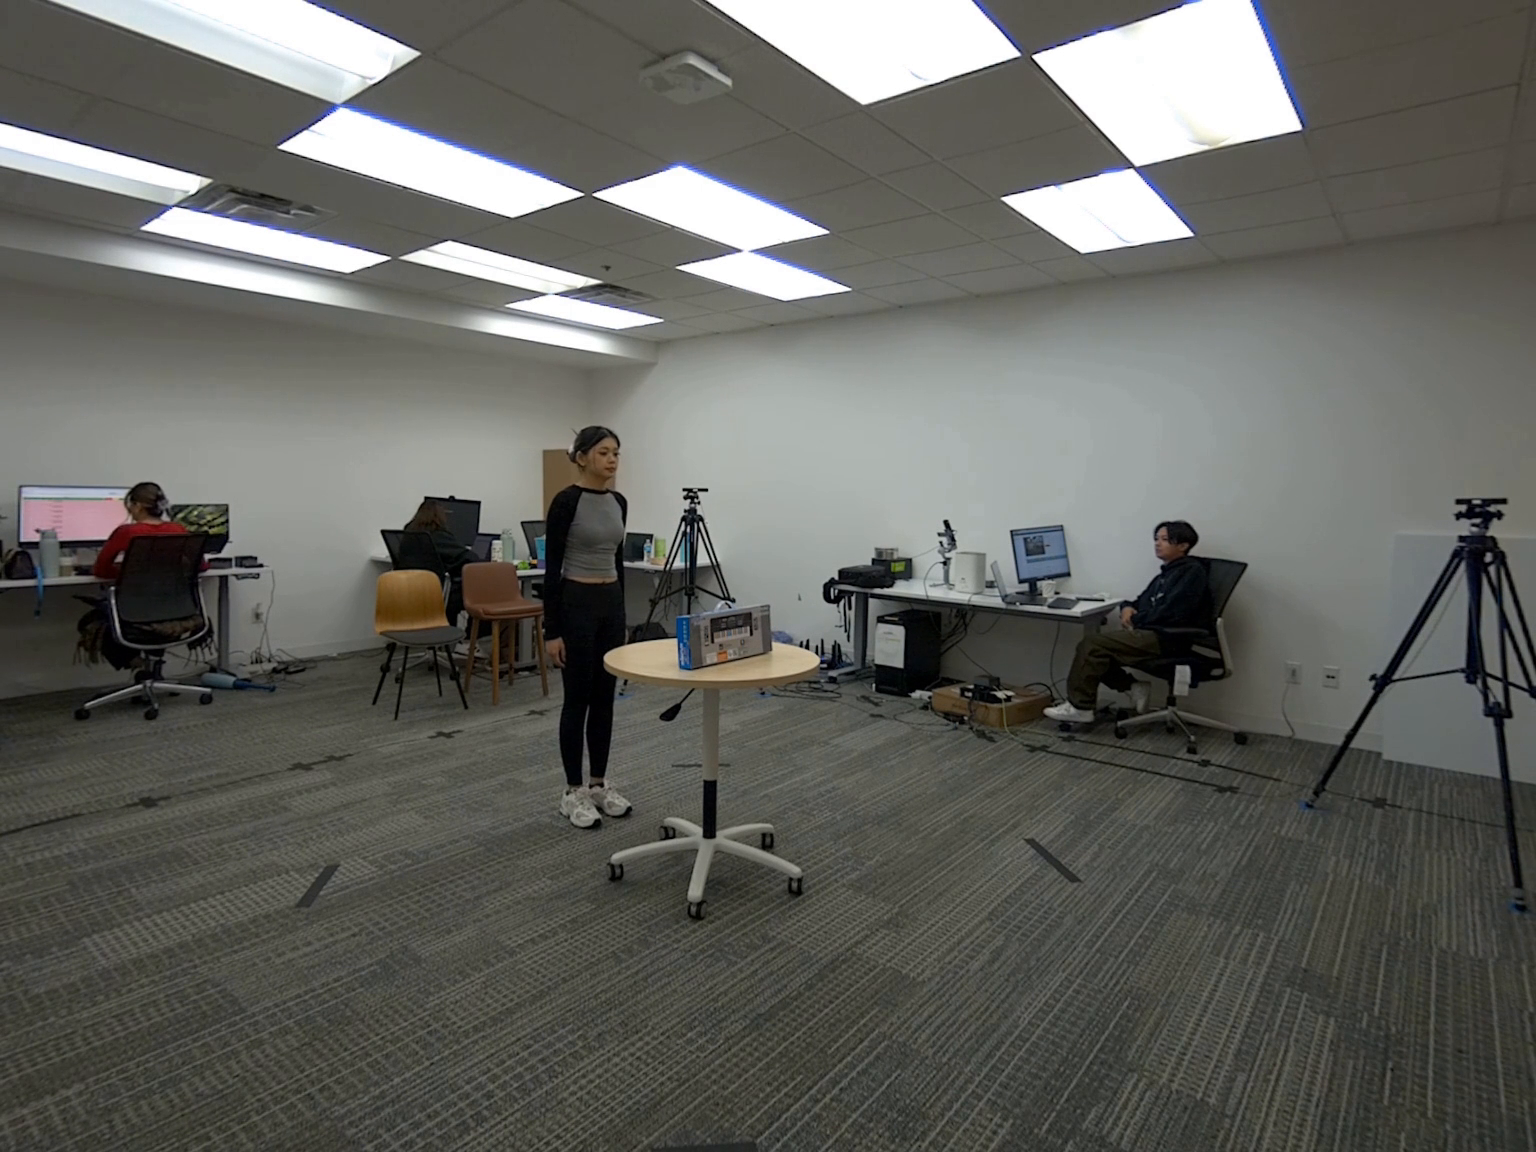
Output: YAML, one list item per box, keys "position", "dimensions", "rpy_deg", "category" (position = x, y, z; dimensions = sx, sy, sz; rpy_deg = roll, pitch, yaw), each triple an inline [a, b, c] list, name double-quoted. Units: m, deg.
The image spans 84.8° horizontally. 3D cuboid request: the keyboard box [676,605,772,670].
- position: [-0.152, 0.205, 2.966]
  dimensions: [0.061, 0.176, 0.424]
  rpy_deg: [-4, 1, 39]
  category: "keyboard box"
